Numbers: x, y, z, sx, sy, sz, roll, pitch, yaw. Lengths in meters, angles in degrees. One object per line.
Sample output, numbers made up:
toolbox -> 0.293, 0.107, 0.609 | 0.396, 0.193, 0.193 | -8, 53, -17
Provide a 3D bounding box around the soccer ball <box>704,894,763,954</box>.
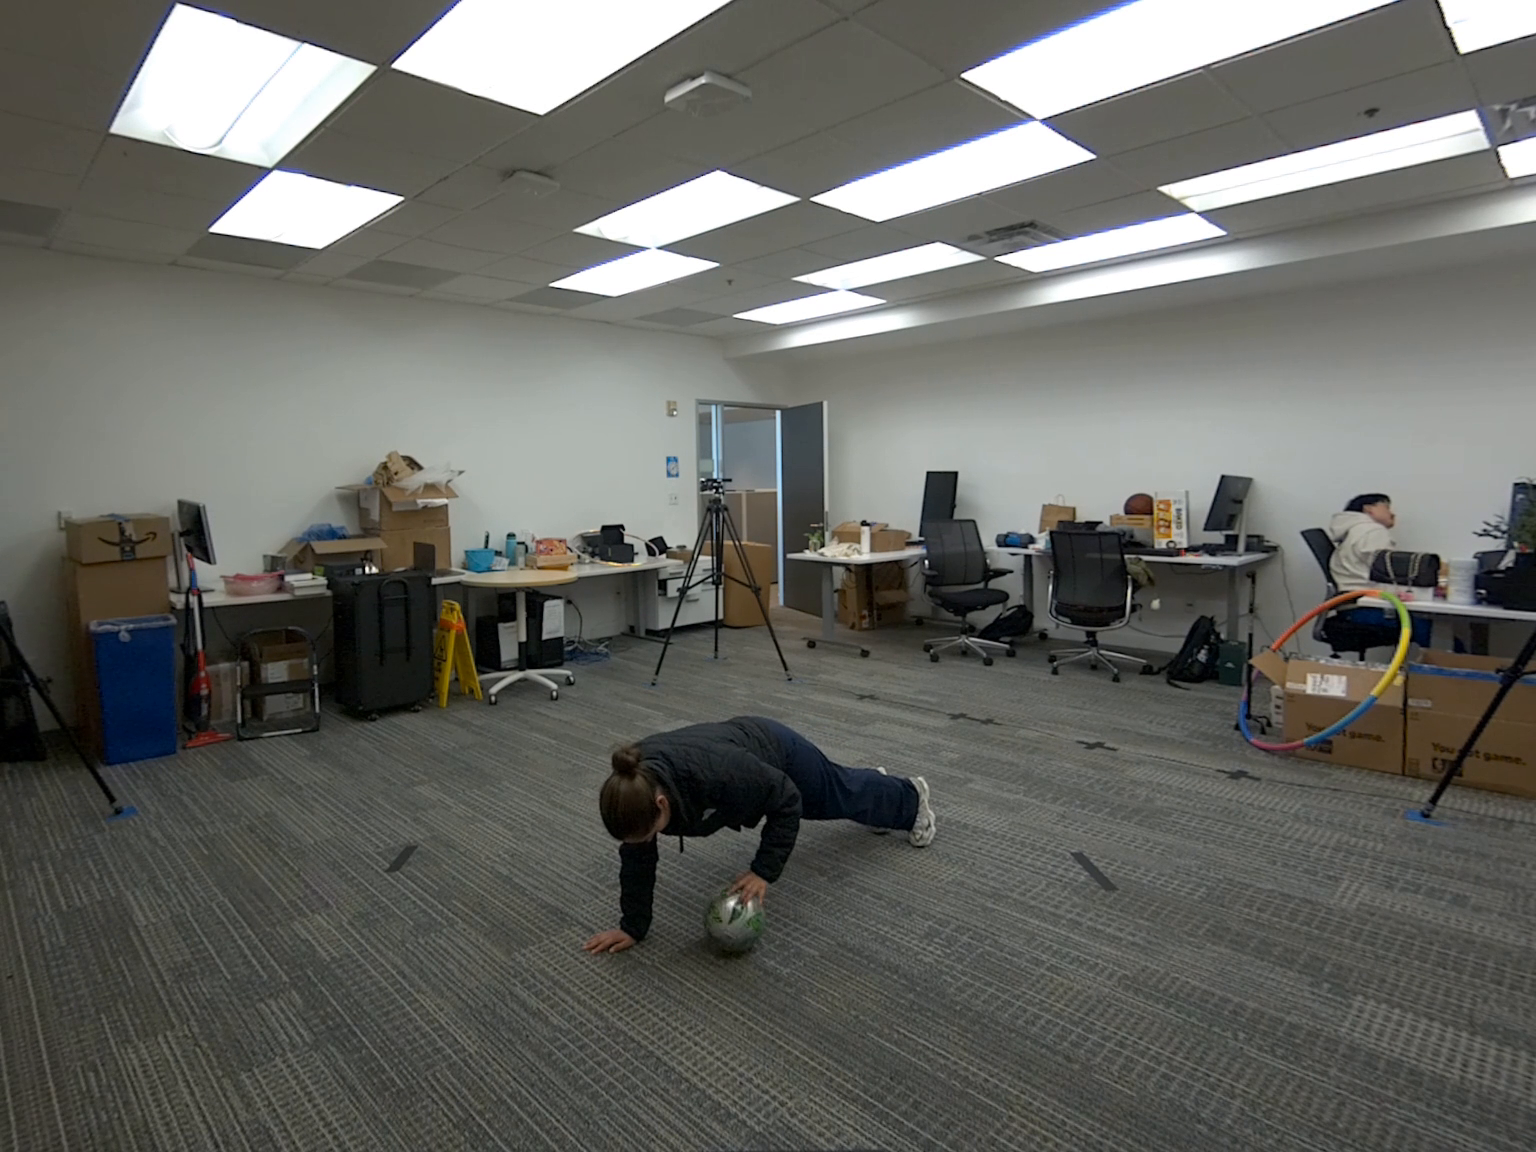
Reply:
soccer ball -> -0.106, 1.019, 2.544 | 0.187, 0.187, 0.188 | -1, 5, -2
